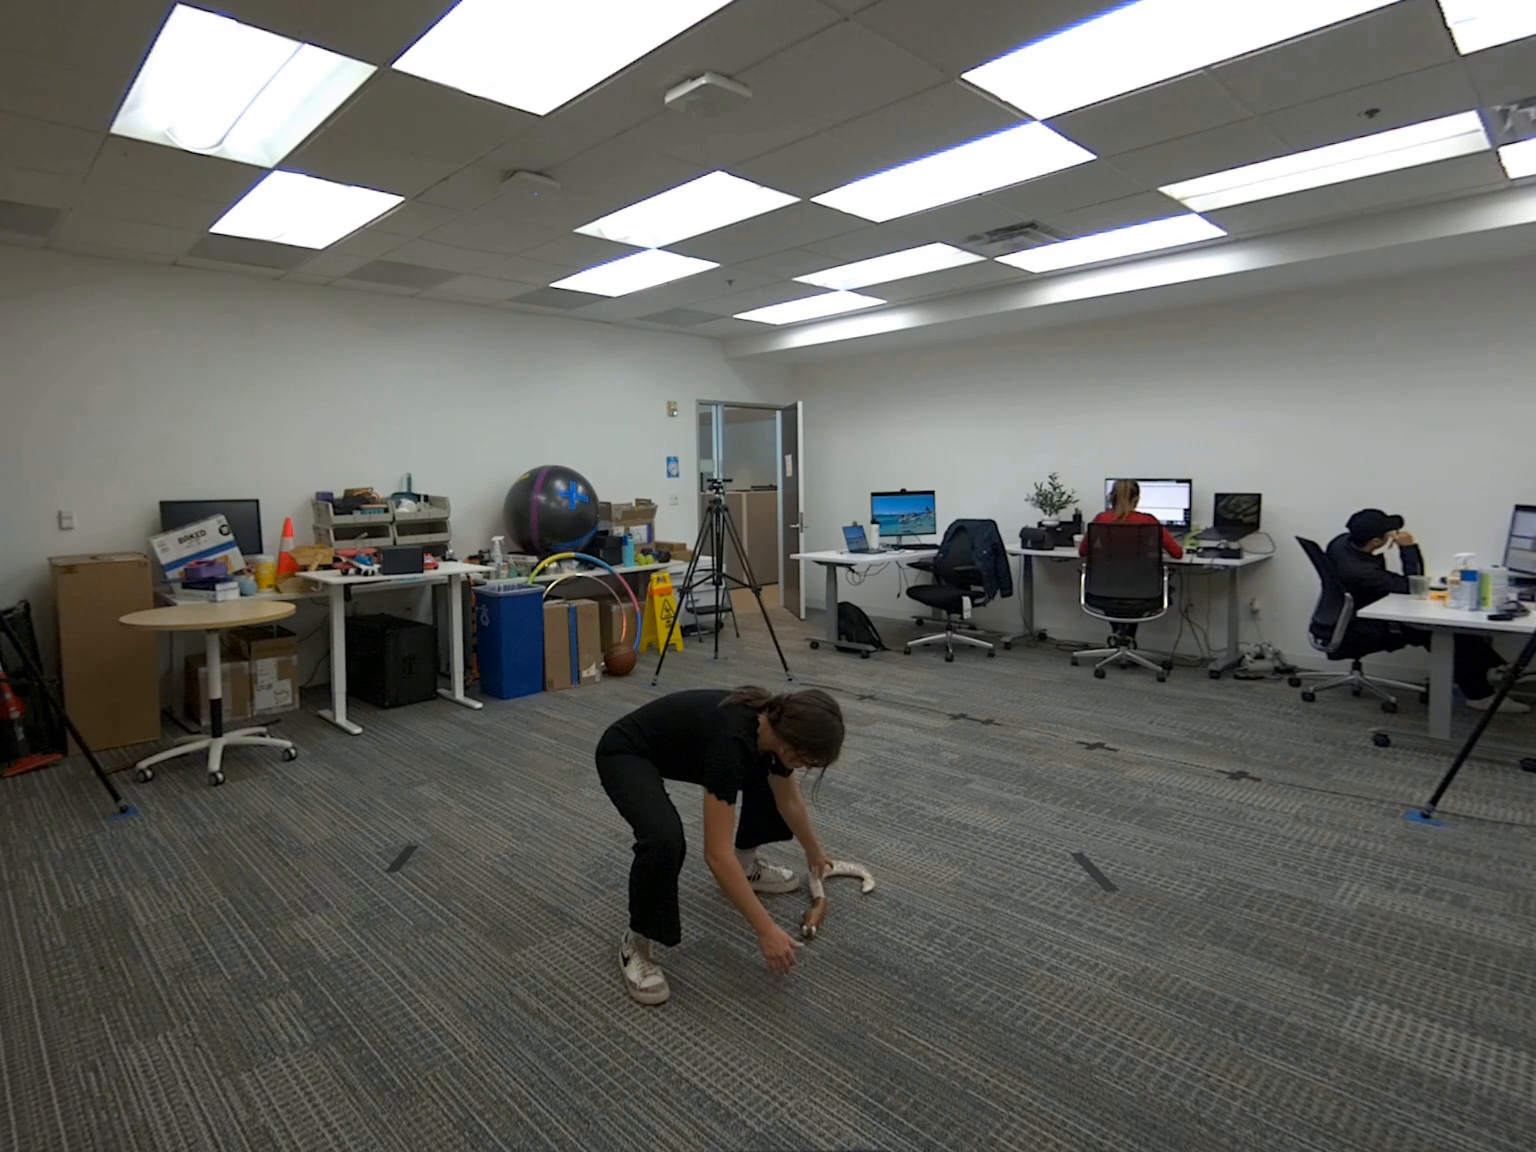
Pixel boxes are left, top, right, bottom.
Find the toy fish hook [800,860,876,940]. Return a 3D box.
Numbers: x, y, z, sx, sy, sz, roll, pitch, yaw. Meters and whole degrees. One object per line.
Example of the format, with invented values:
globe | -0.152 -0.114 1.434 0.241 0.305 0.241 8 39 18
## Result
toy fish hook | 0.225 1.053 2.791 0.227 0.048 0.502 -4 6 13
